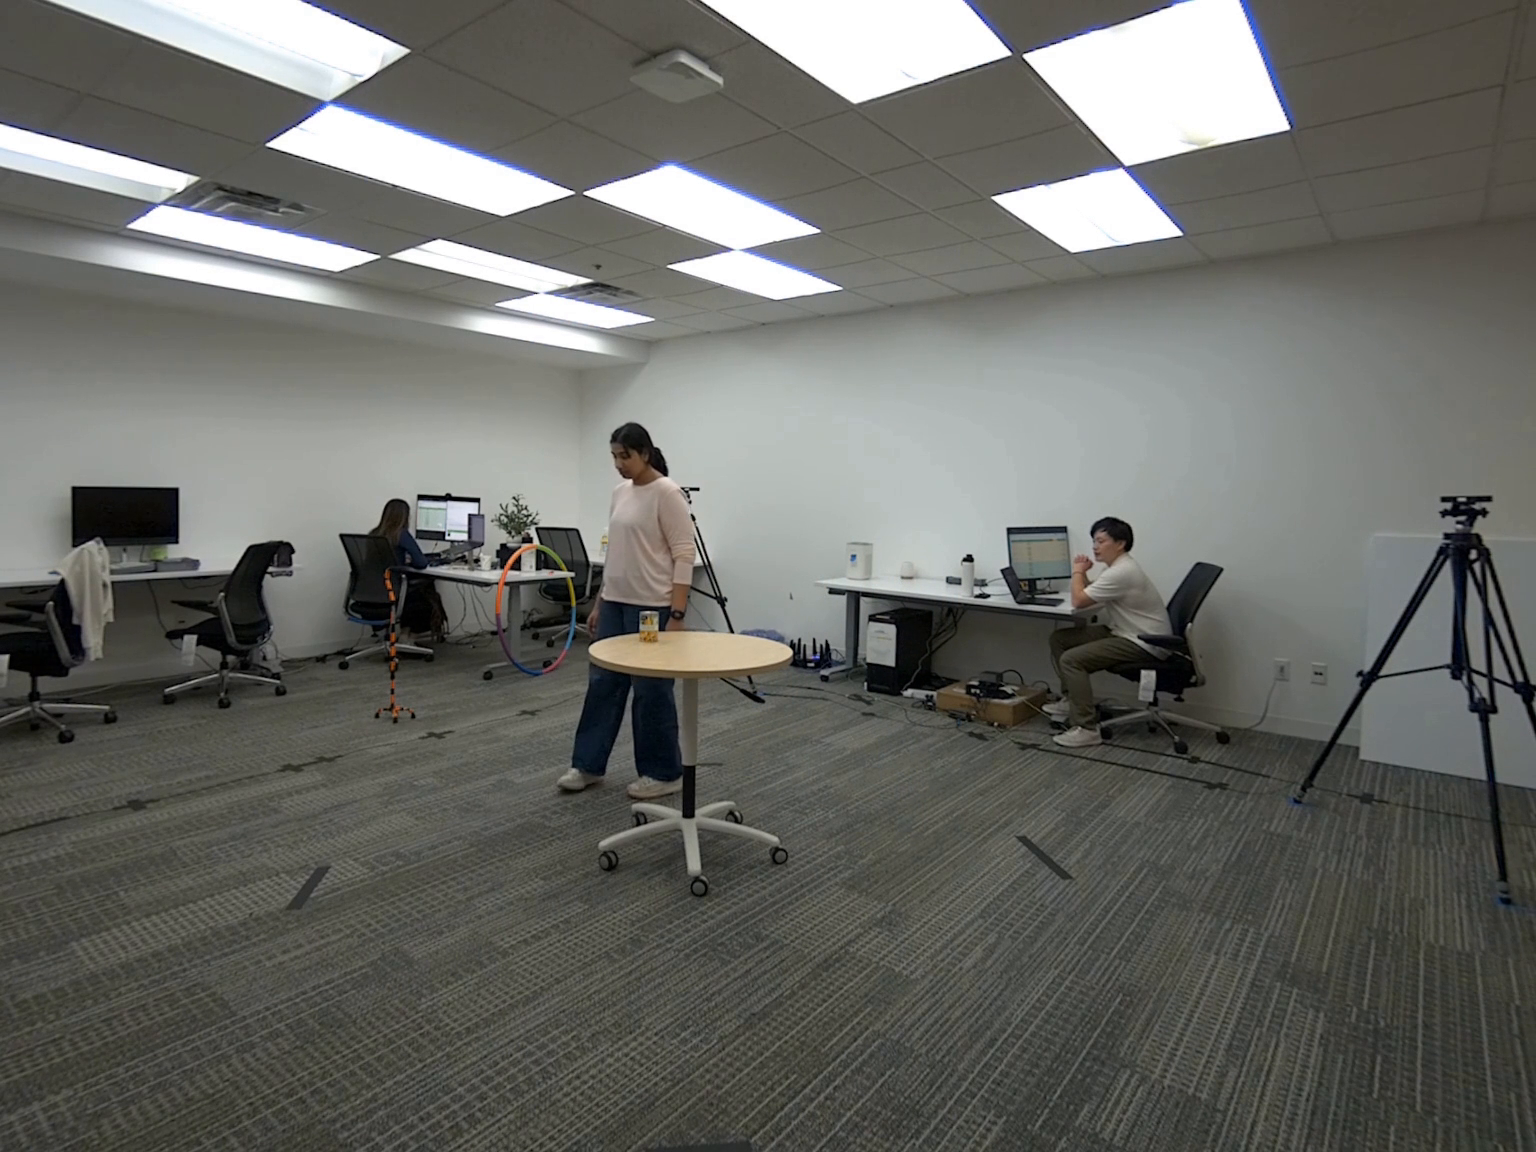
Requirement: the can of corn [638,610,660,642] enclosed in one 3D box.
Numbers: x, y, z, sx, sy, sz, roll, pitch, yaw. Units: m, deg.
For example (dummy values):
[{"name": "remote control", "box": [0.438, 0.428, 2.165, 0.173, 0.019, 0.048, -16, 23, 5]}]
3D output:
[{"name": "can of corn", "box": [-0.487, 0.197, 3.349, 0.074, 0.111, 0.074, 0, 3, -2]}]
